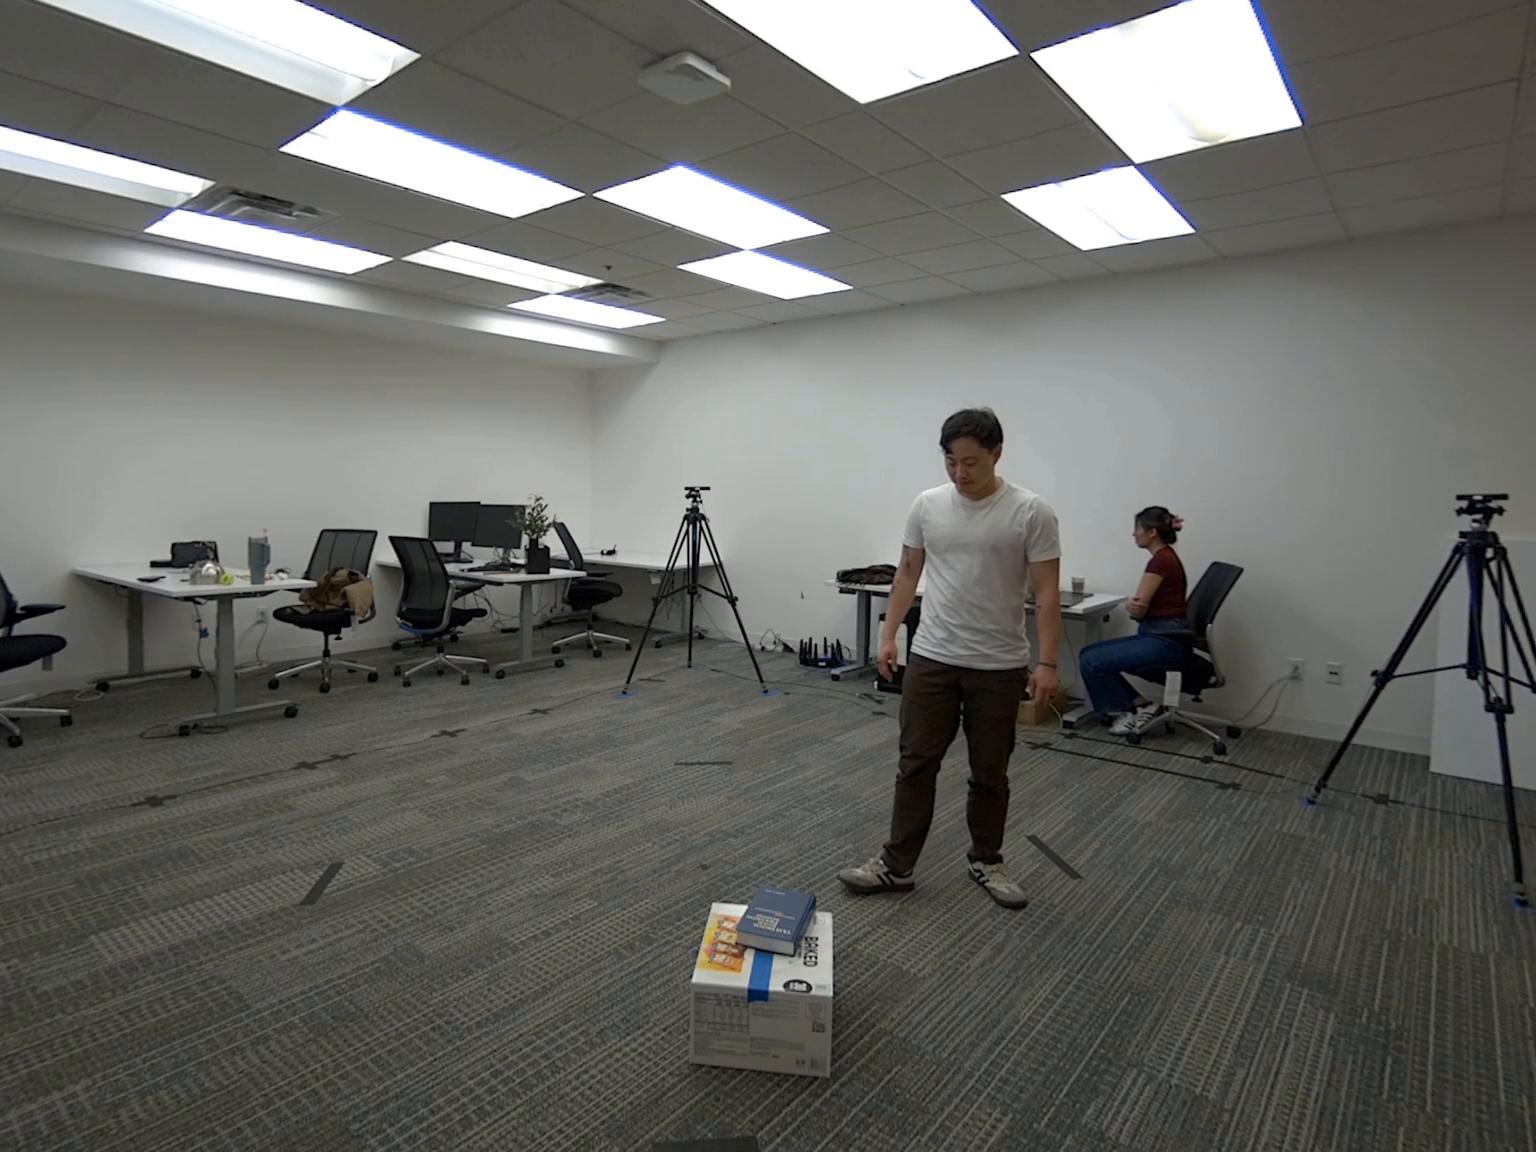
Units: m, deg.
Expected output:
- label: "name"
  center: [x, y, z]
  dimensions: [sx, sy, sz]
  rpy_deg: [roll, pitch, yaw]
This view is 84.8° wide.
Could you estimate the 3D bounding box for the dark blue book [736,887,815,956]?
- label: "dark blue book"
  center: [0.016, 0.932, 2.307]
  dimensions: [0.166, 0.045, 0.242]
  rpy_deg: [3, 9, 16]
